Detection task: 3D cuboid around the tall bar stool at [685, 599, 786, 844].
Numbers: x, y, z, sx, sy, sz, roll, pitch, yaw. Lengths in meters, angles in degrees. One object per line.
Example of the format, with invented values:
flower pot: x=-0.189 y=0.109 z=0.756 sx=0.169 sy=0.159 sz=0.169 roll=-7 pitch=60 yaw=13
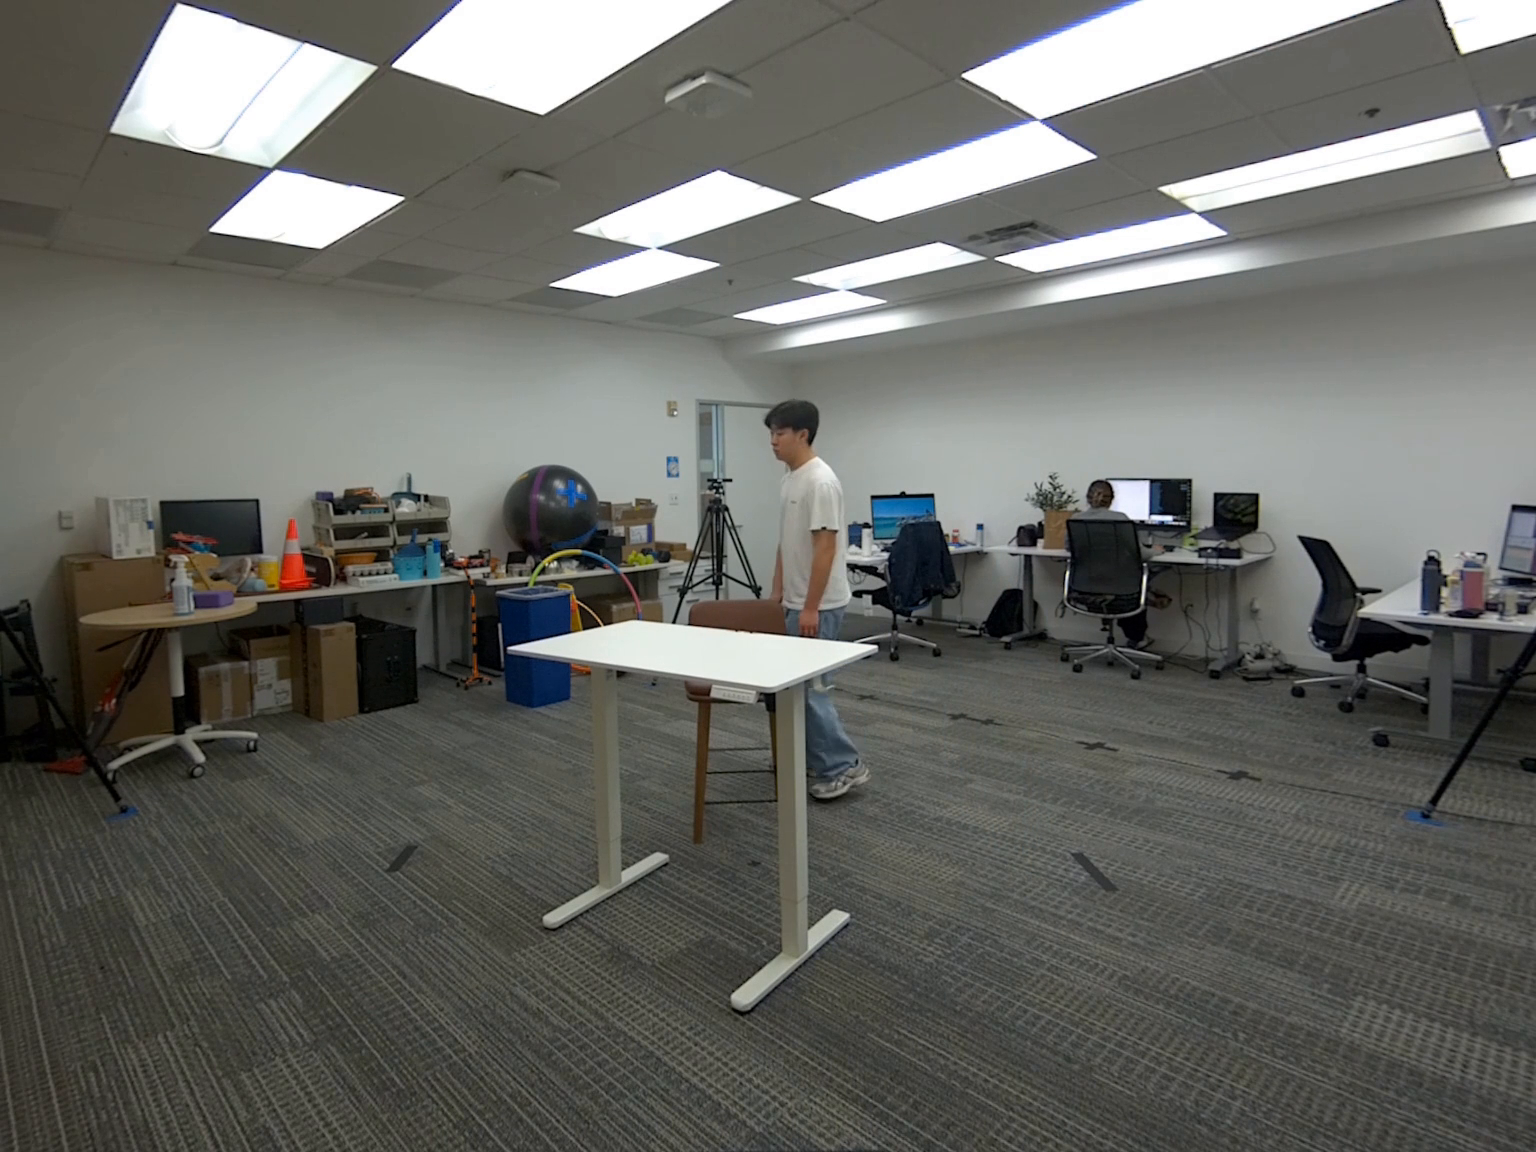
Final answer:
tall bar stool: x=-0.103 y=0.569 z=3.490 sx=0.455 sy=0.888 sz=0.470 roll=-1 pitch=2 yaw=-4
